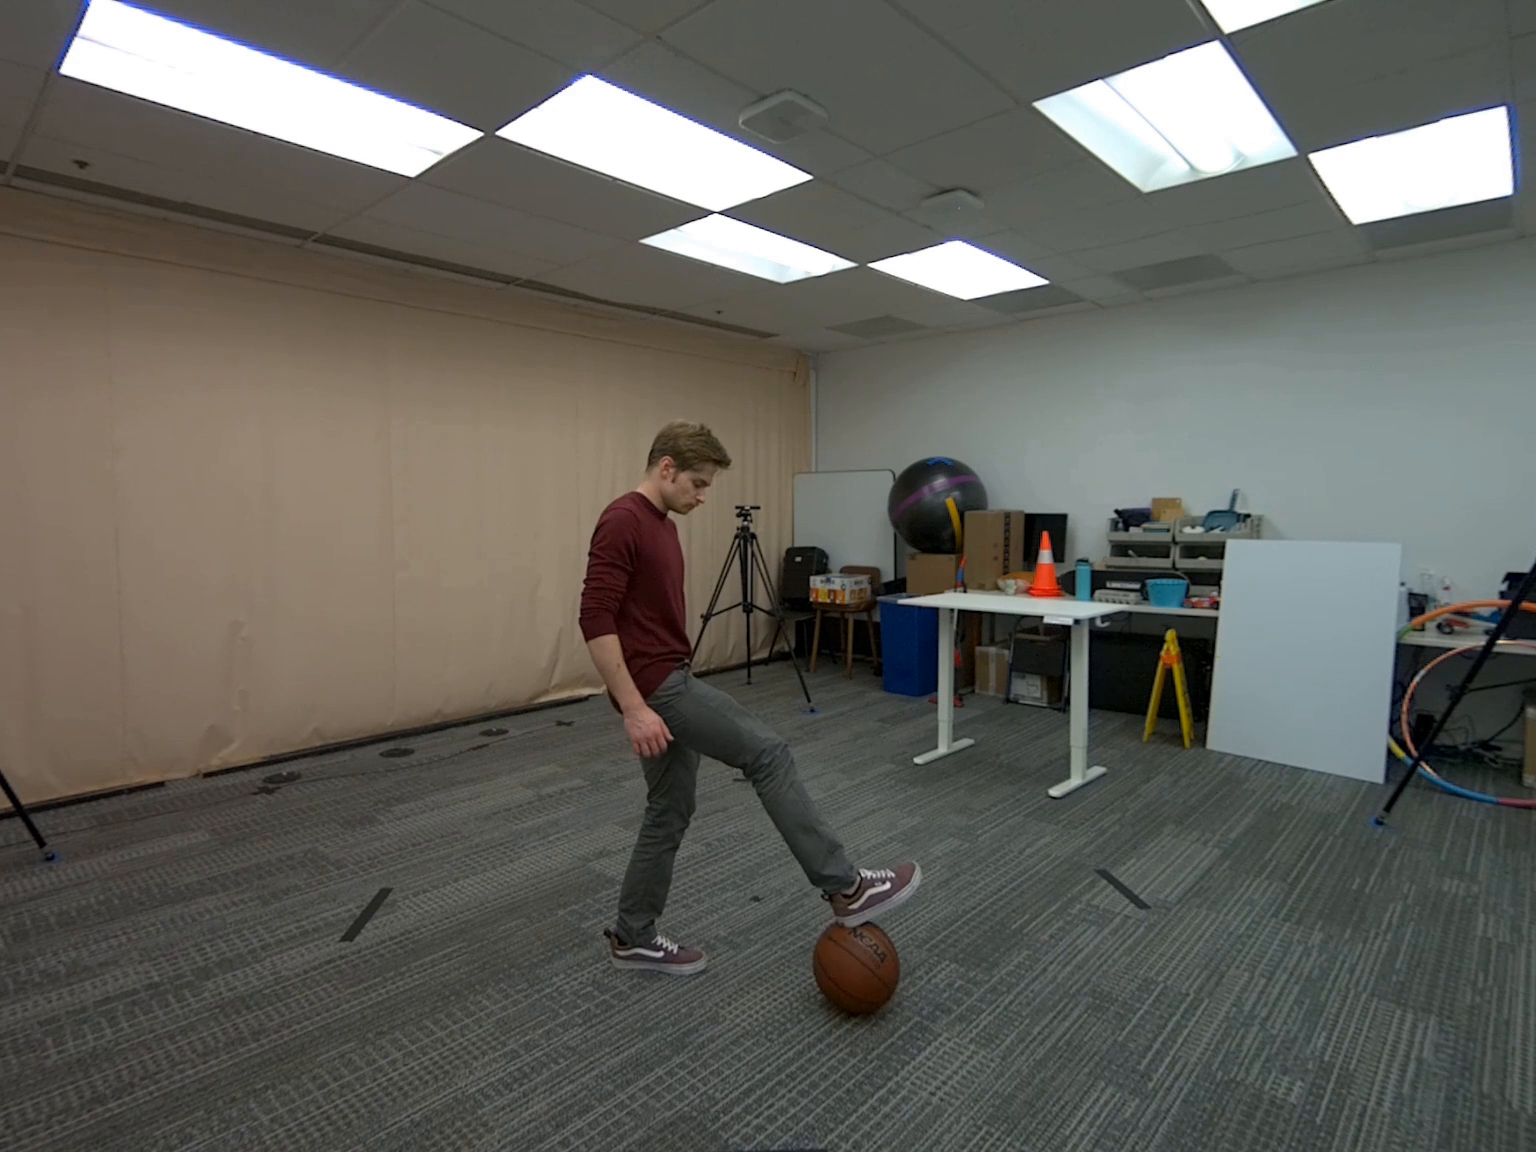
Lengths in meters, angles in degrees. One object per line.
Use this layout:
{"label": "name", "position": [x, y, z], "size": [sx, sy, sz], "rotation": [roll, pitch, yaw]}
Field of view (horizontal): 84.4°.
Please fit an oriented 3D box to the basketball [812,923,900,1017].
{"label": "basketball", "position": [0.249, 1.084, 2.335], "size": [0.236, 0.235, 0.237], "rotation": [0, 4, -2]}
